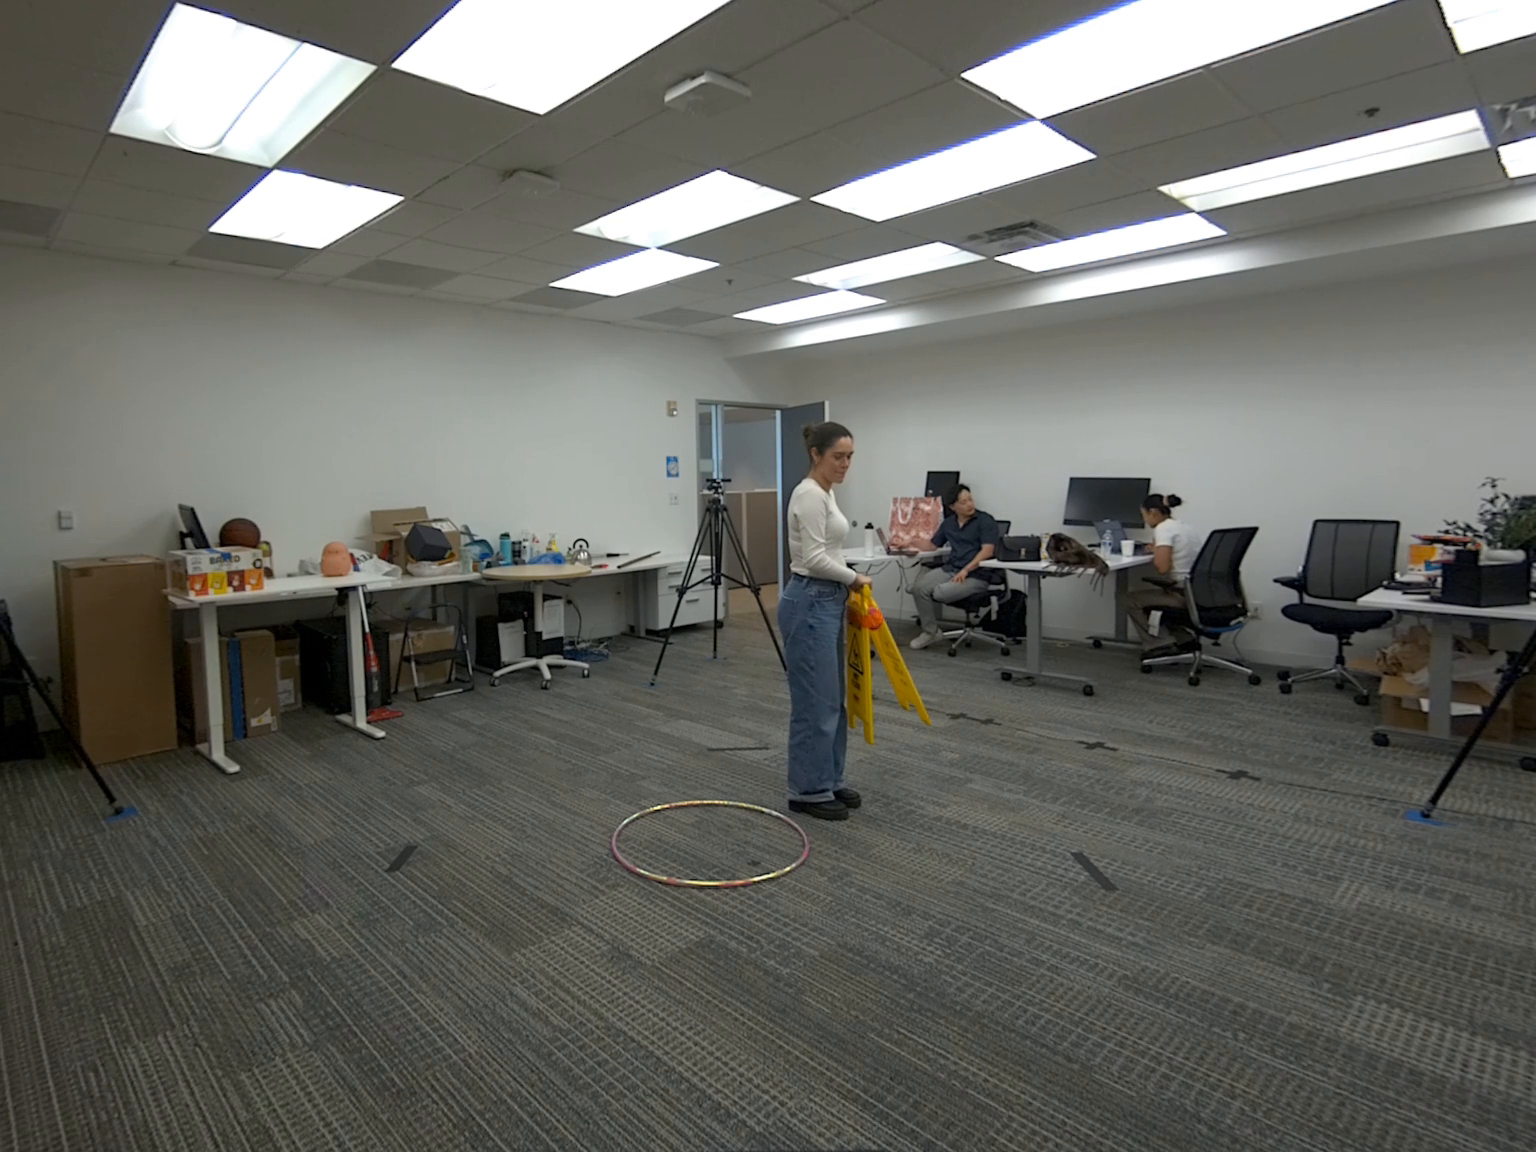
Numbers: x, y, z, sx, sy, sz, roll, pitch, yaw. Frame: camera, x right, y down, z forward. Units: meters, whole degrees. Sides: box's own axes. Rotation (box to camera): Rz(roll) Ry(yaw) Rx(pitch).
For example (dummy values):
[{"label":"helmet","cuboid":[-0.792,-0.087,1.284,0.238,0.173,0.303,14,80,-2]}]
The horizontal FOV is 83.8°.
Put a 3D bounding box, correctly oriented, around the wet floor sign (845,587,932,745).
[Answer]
[{"label":"wet floor sign","cuboid":[0.445,0.337,3.600,0.287,0.639,0.288,-15,10,-12]}]
